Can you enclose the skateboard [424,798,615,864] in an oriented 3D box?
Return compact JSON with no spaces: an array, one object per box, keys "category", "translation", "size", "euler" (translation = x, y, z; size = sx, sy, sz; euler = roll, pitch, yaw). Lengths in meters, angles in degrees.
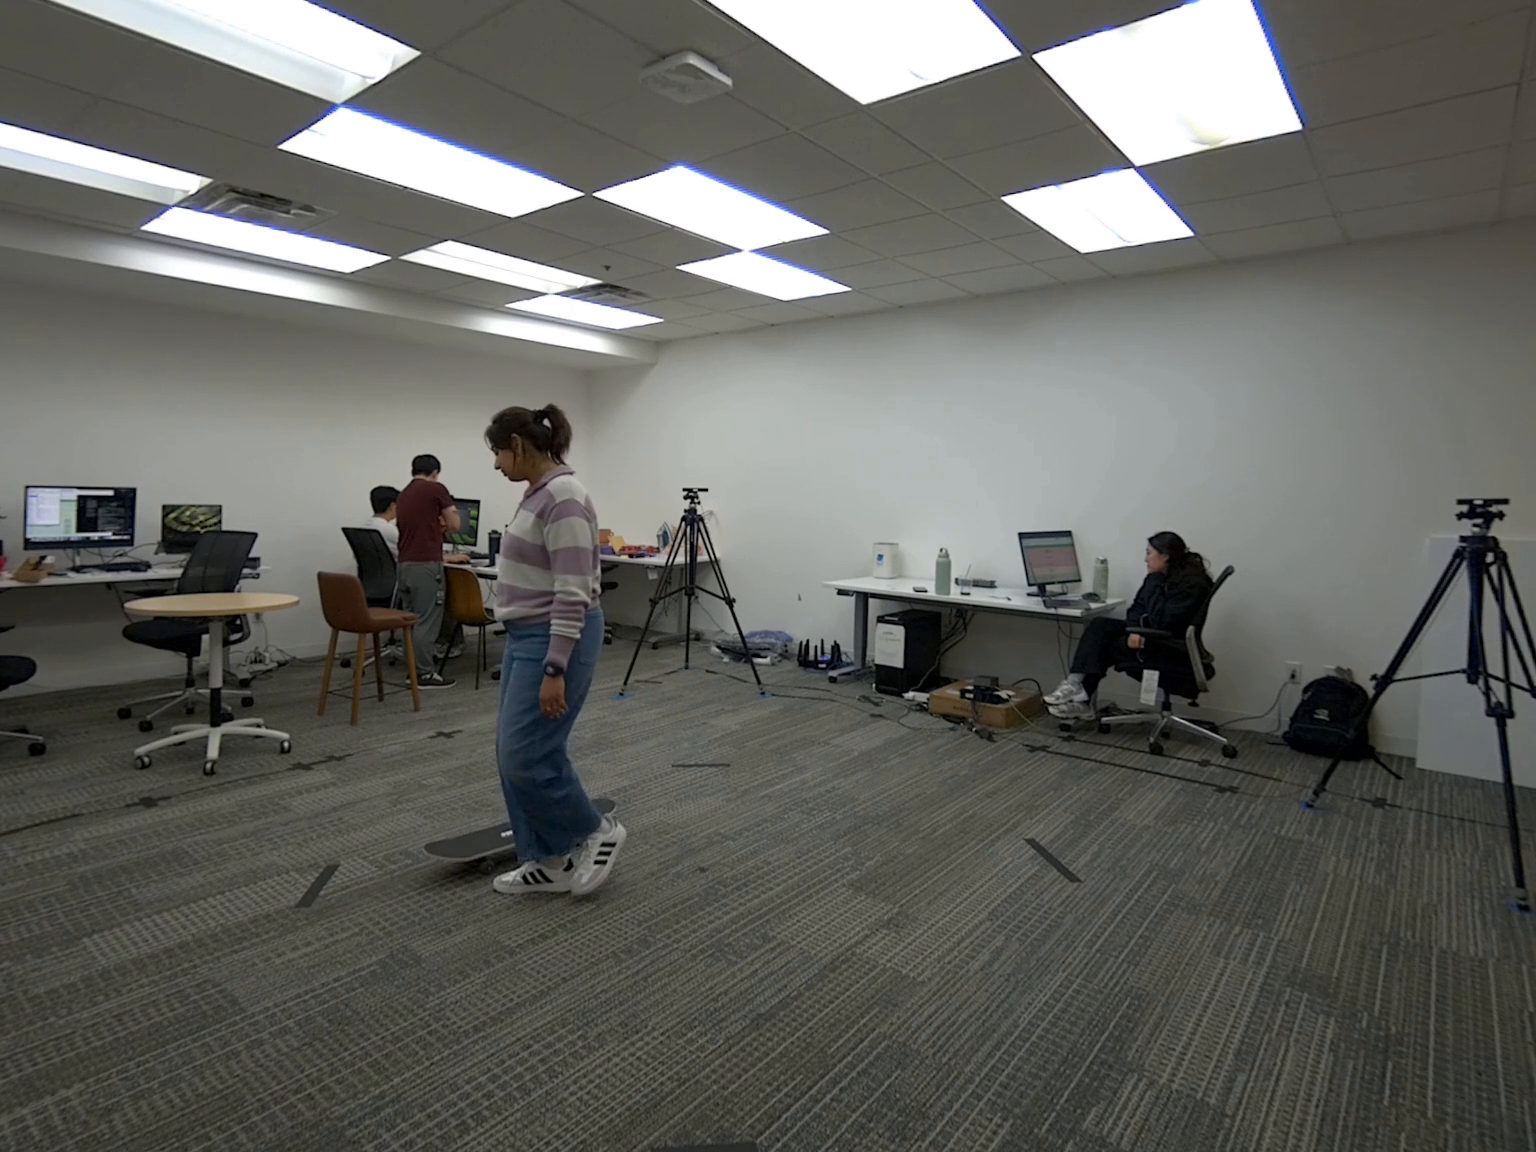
[{"category":"skateboard","translation":[-0.924,0.988,3.228],"size":[0.762,0.110,0.200],"euler":[-4,7,-43]}]
